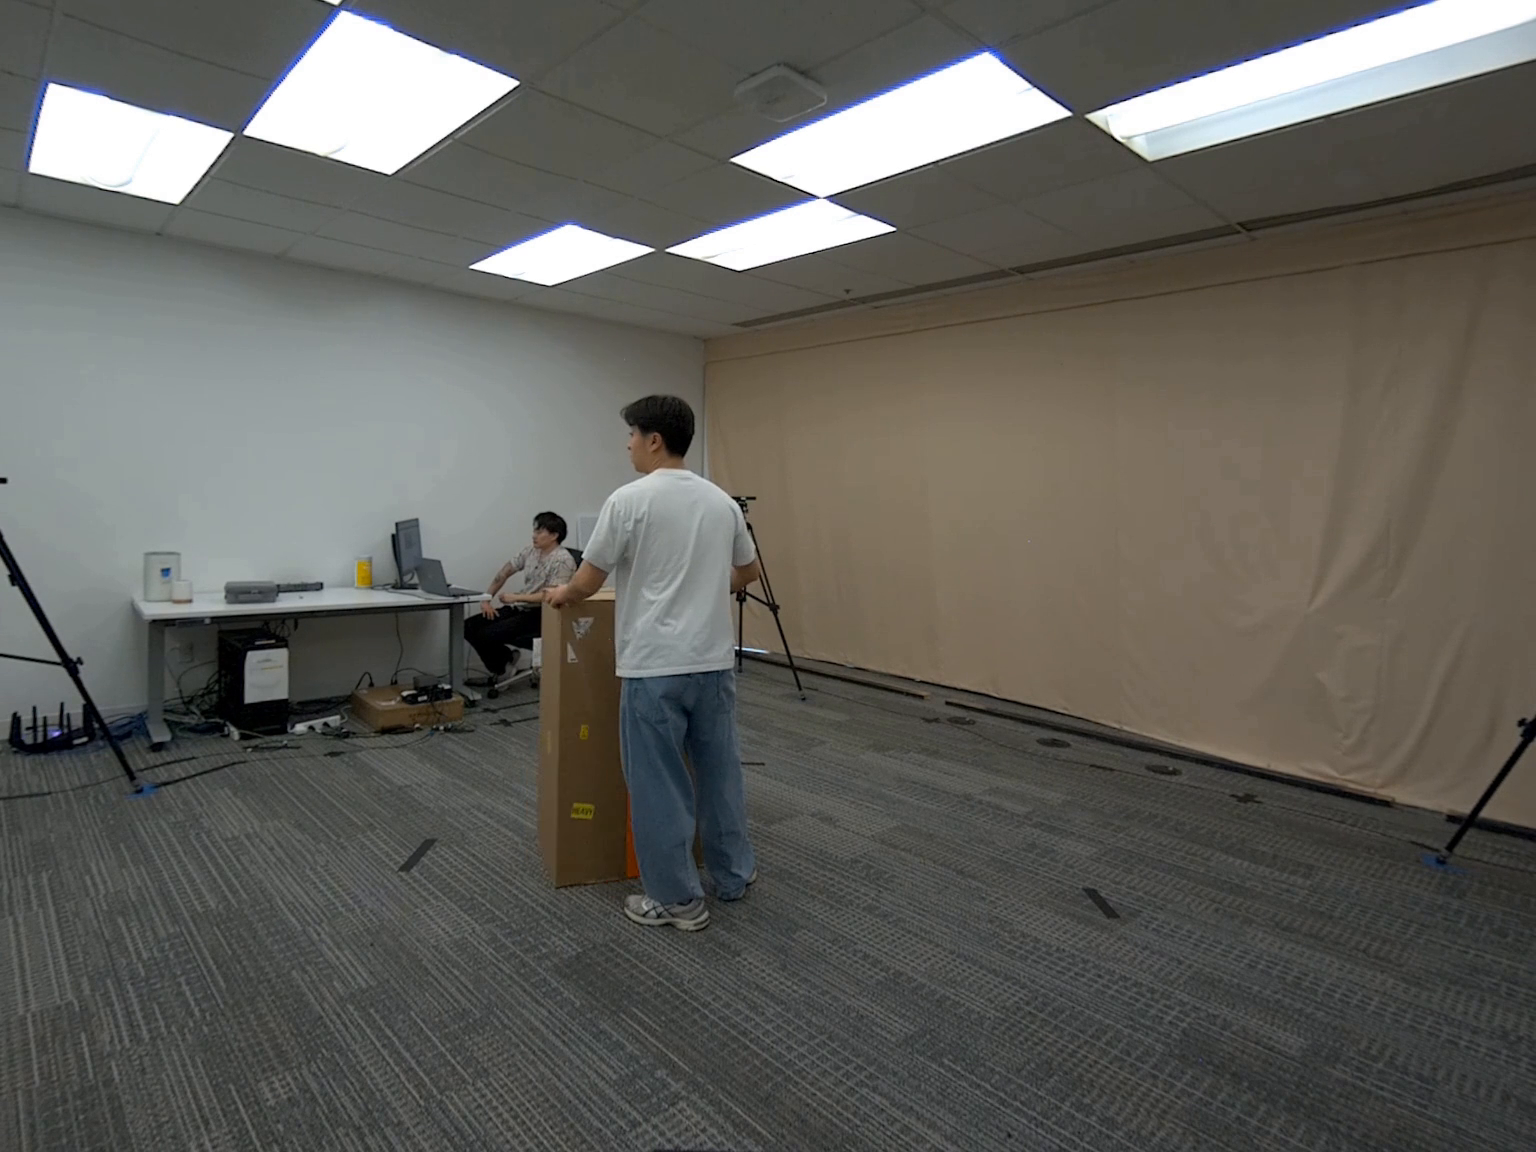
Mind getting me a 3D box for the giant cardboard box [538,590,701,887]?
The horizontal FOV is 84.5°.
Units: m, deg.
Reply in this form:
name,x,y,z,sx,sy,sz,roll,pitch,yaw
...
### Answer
name,x,y,z,sx,sy,sz,roll,pitch,yaw
giant cardboard box,-0.566,0.573,3.239,0.568,1.023,0.434,0,3,-23
